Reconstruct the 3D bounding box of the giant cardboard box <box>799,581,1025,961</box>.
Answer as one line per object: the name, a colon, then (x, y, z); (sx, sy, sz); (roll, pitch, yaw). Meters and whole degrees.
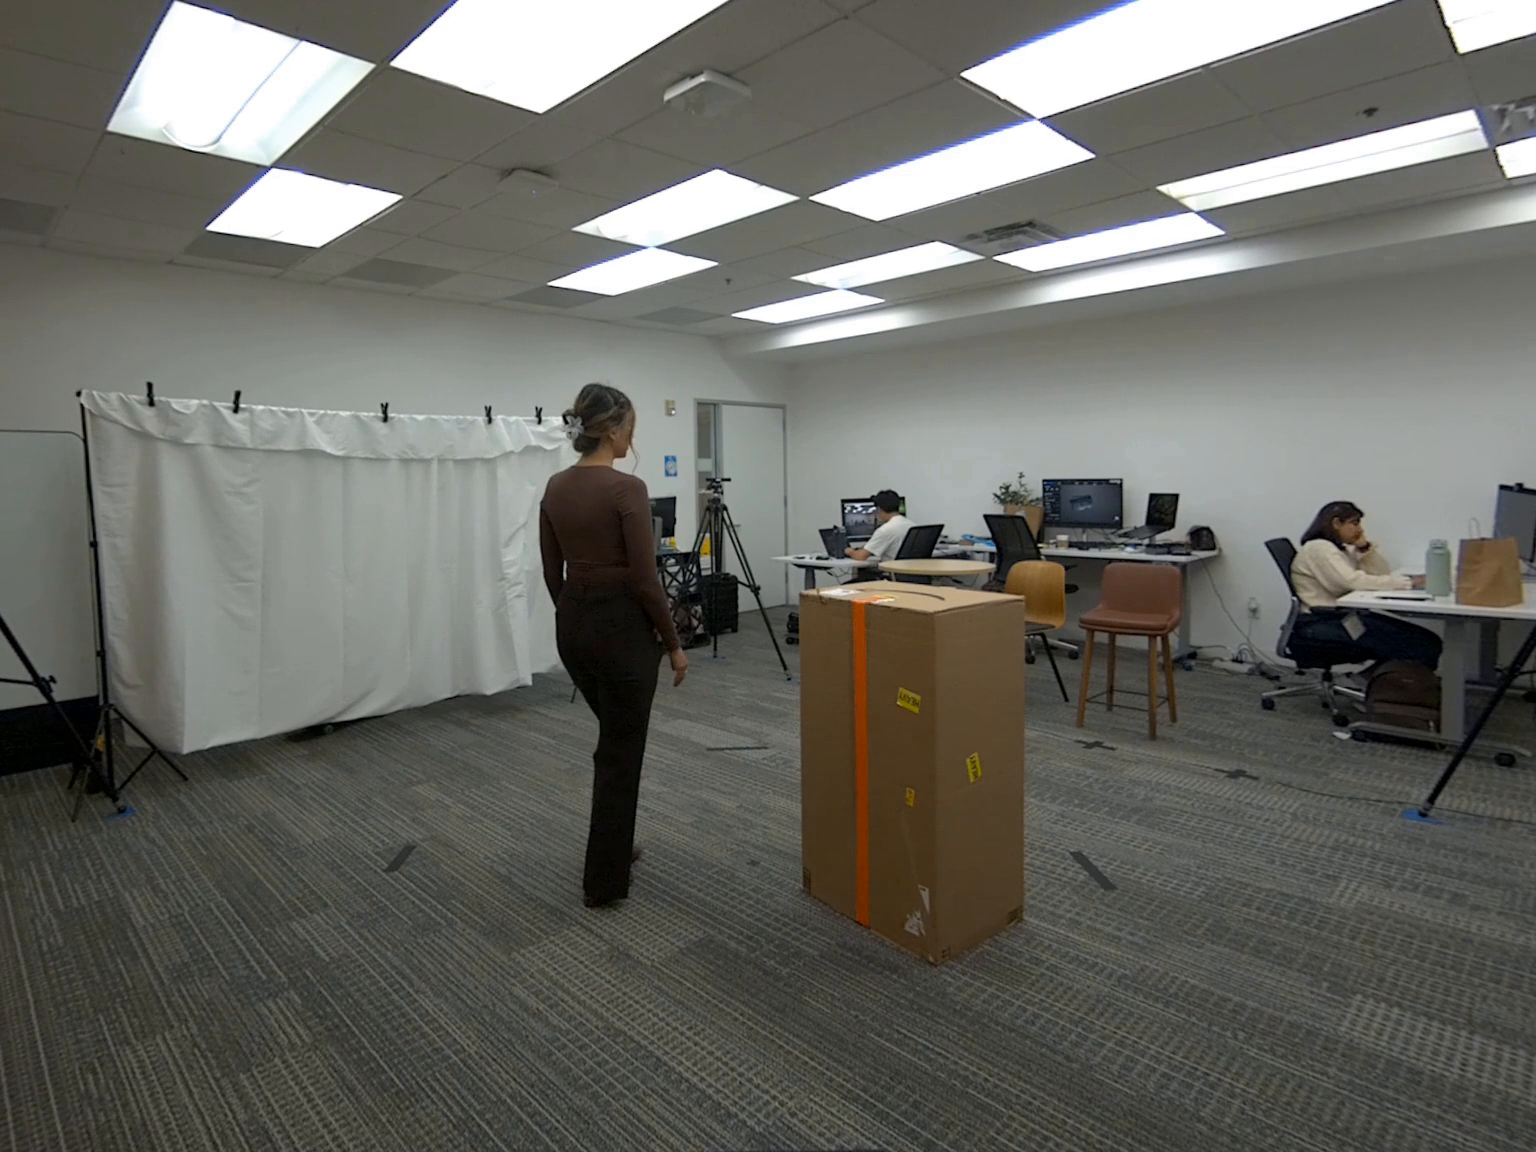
giant cardboard box: (0.451, 0.562, 2.746); (0.435, 1.023, 0.601); (-5, 6, -37)
